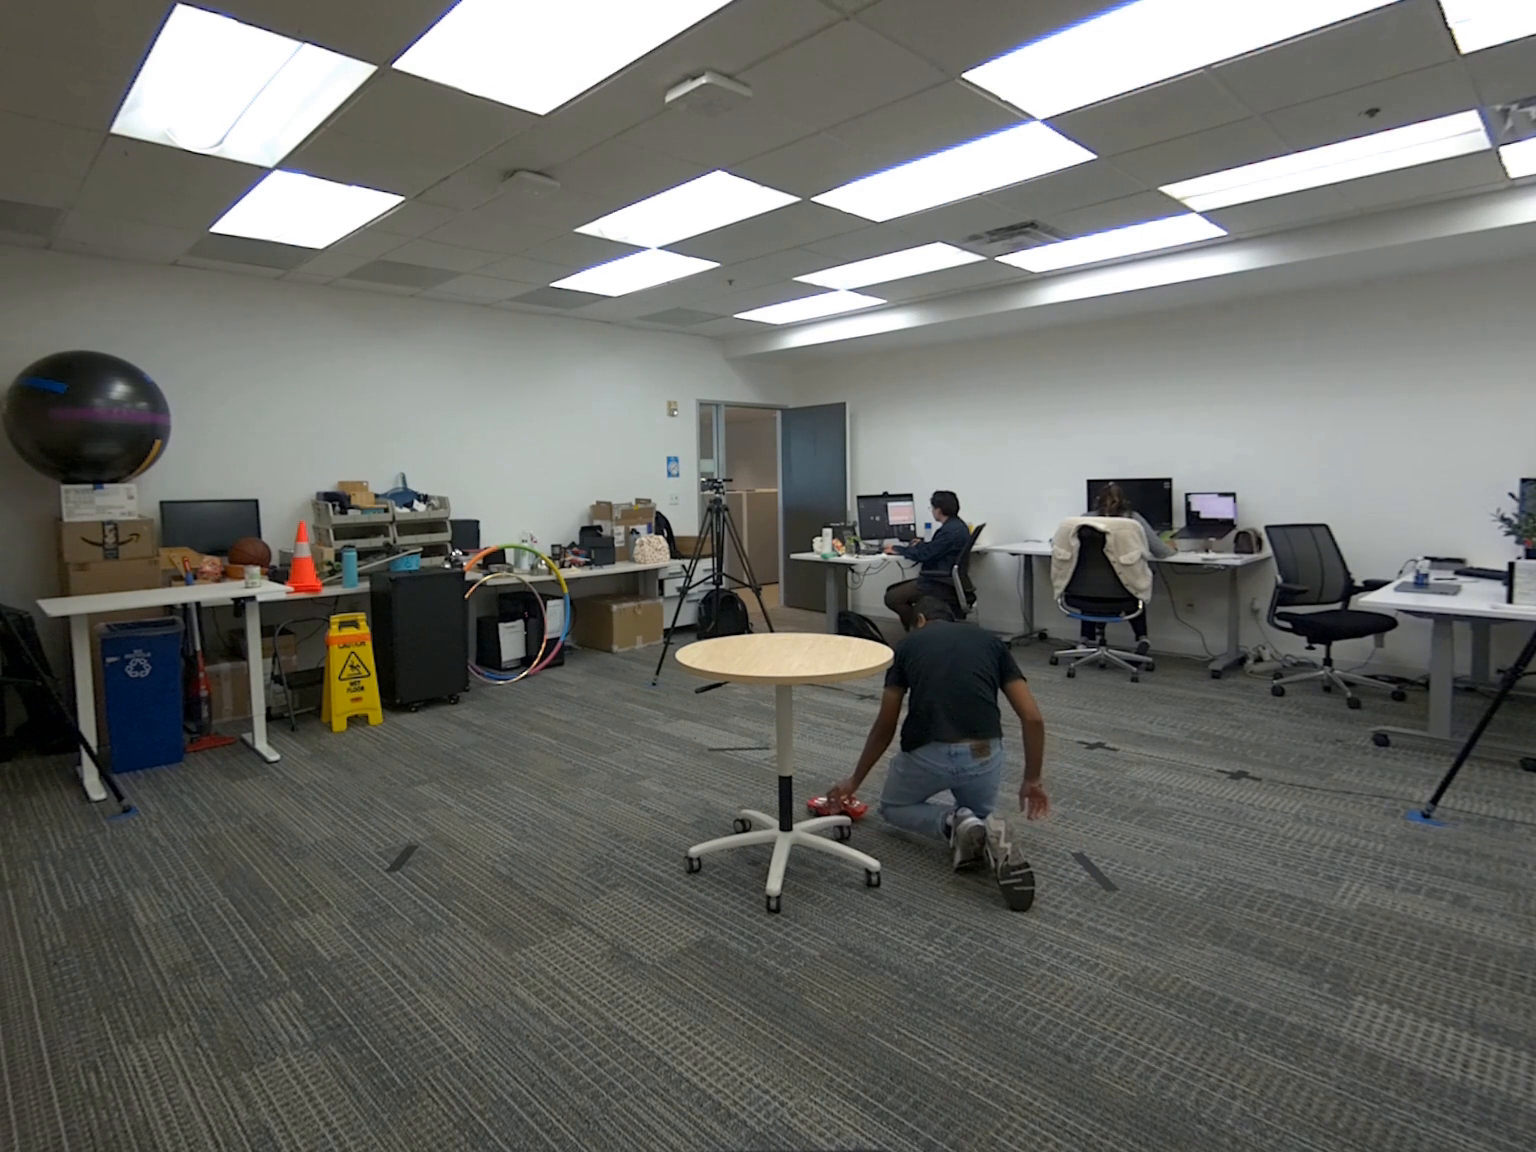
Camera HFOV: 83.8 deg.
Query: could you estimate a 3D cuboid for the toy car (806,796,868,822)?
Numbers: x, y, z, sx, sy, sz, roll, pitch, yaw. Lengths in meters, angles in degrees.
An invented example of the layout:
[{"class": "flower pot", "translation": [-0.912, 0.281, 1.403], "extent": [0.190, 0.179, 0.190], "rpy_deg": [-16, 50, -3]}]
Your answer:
[{"class": "toy car", "translation": [0.284, 0.954, 3.529], "extent": [0.260, 0.083, 0.127], "rpy_deg": [-8, 1, 29]}]
